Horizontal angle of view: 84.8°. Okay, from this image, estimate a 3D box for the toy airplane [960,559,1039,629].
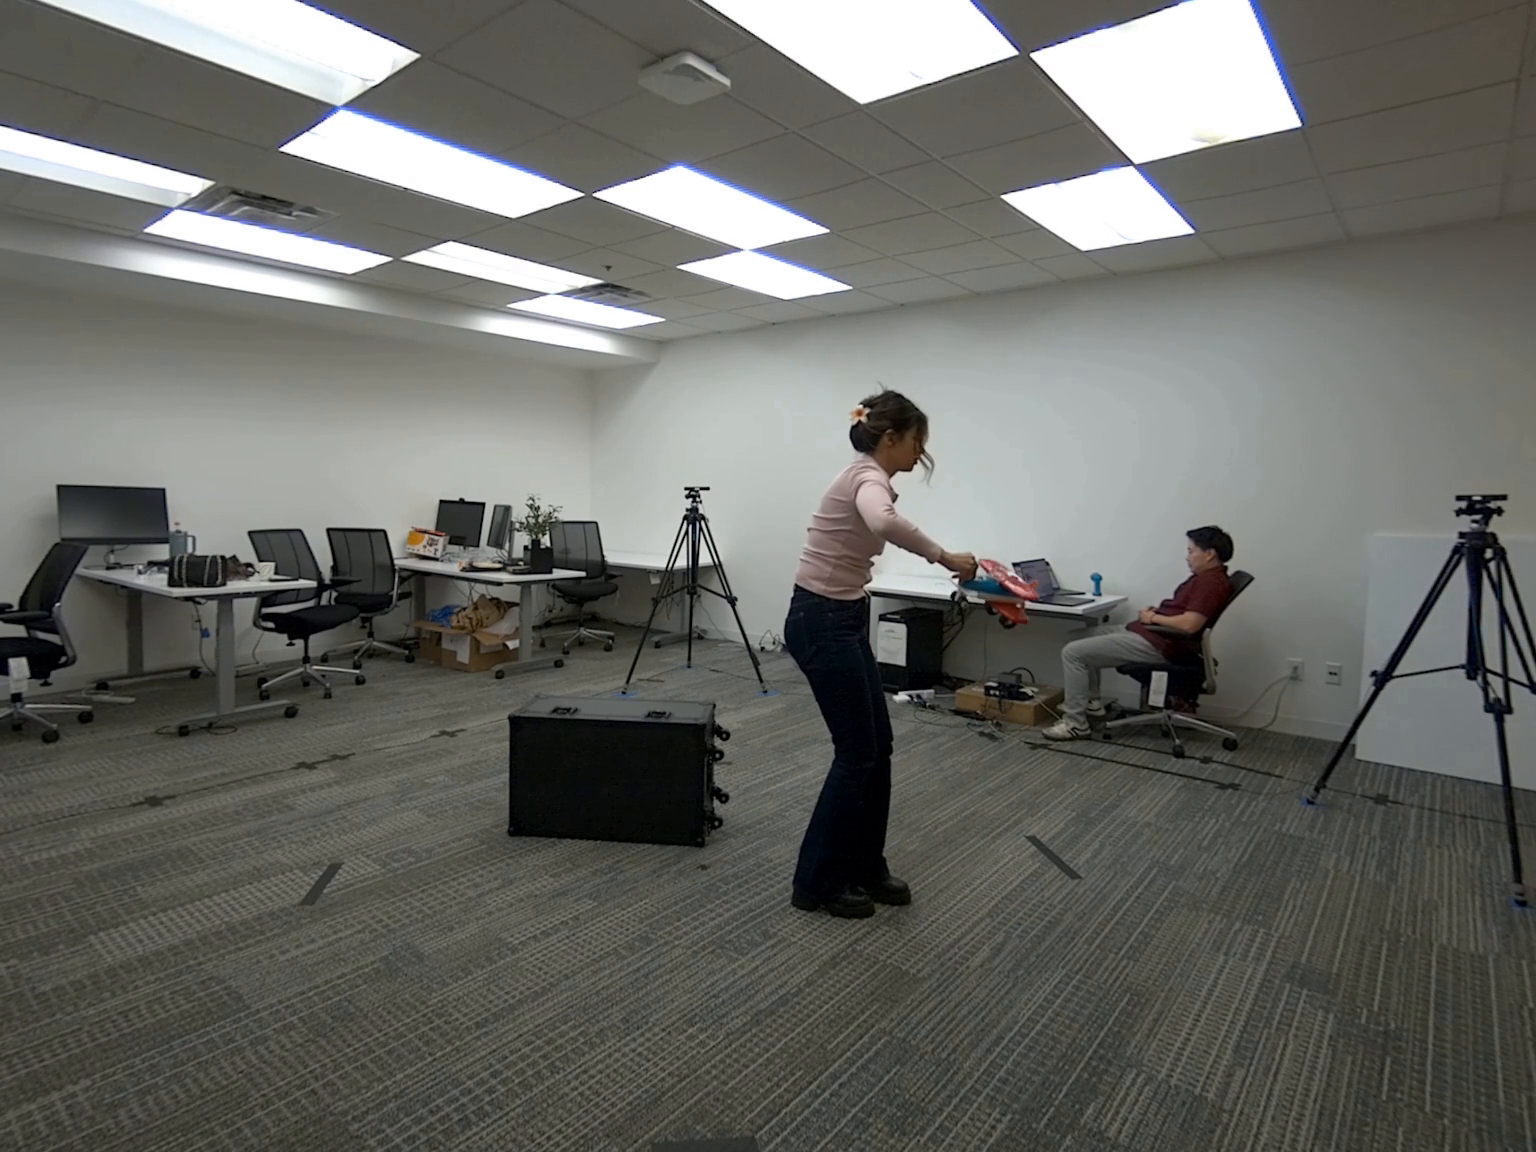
[{"bbox_3d":[0.689,0.066,2.598,0.261,0.155,0.251,37,17,29],"label":"toy airplane"}]
